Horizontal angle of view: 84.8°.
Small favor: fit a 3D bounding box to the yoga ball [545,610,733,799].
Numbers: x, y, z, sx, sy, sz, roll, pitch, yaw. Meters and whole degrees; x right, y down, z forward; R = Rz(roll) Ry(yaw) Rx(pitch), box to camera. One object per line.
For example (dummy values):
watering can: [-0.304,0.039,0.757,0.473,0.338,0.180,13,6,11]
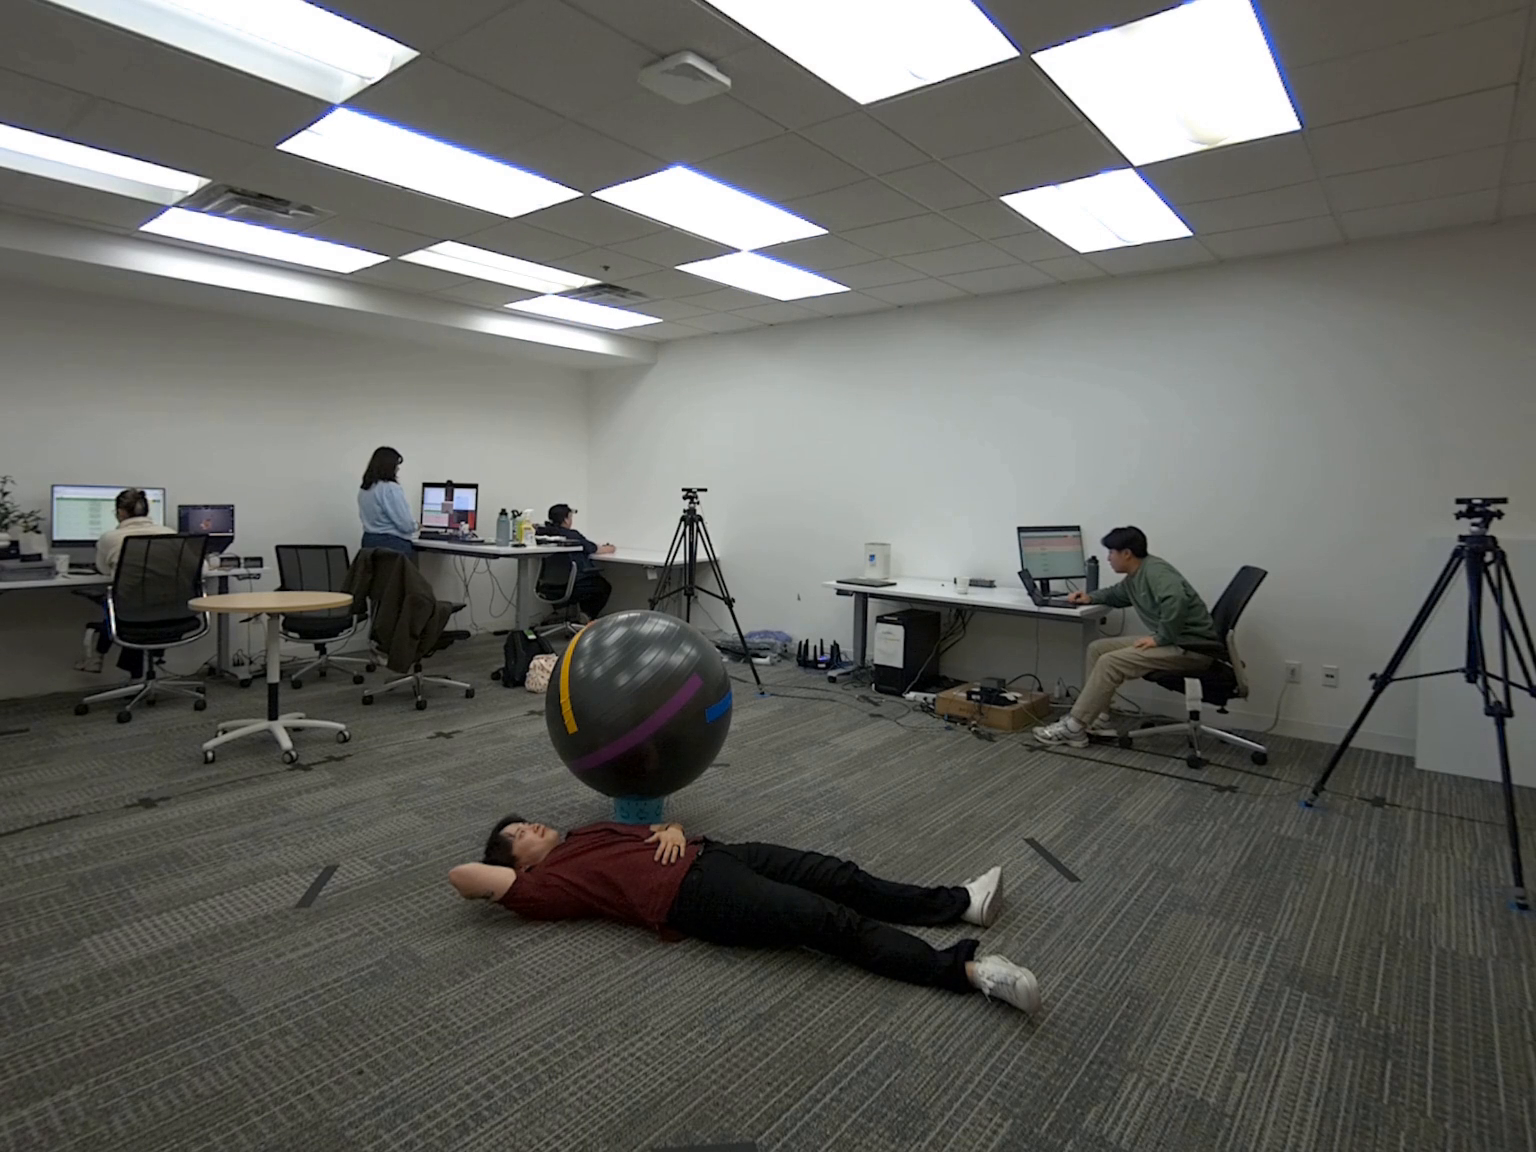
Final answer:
yoga ball: [-0.531,0.517,3.468,0.757,0.755,0.762,1,4,-2]
